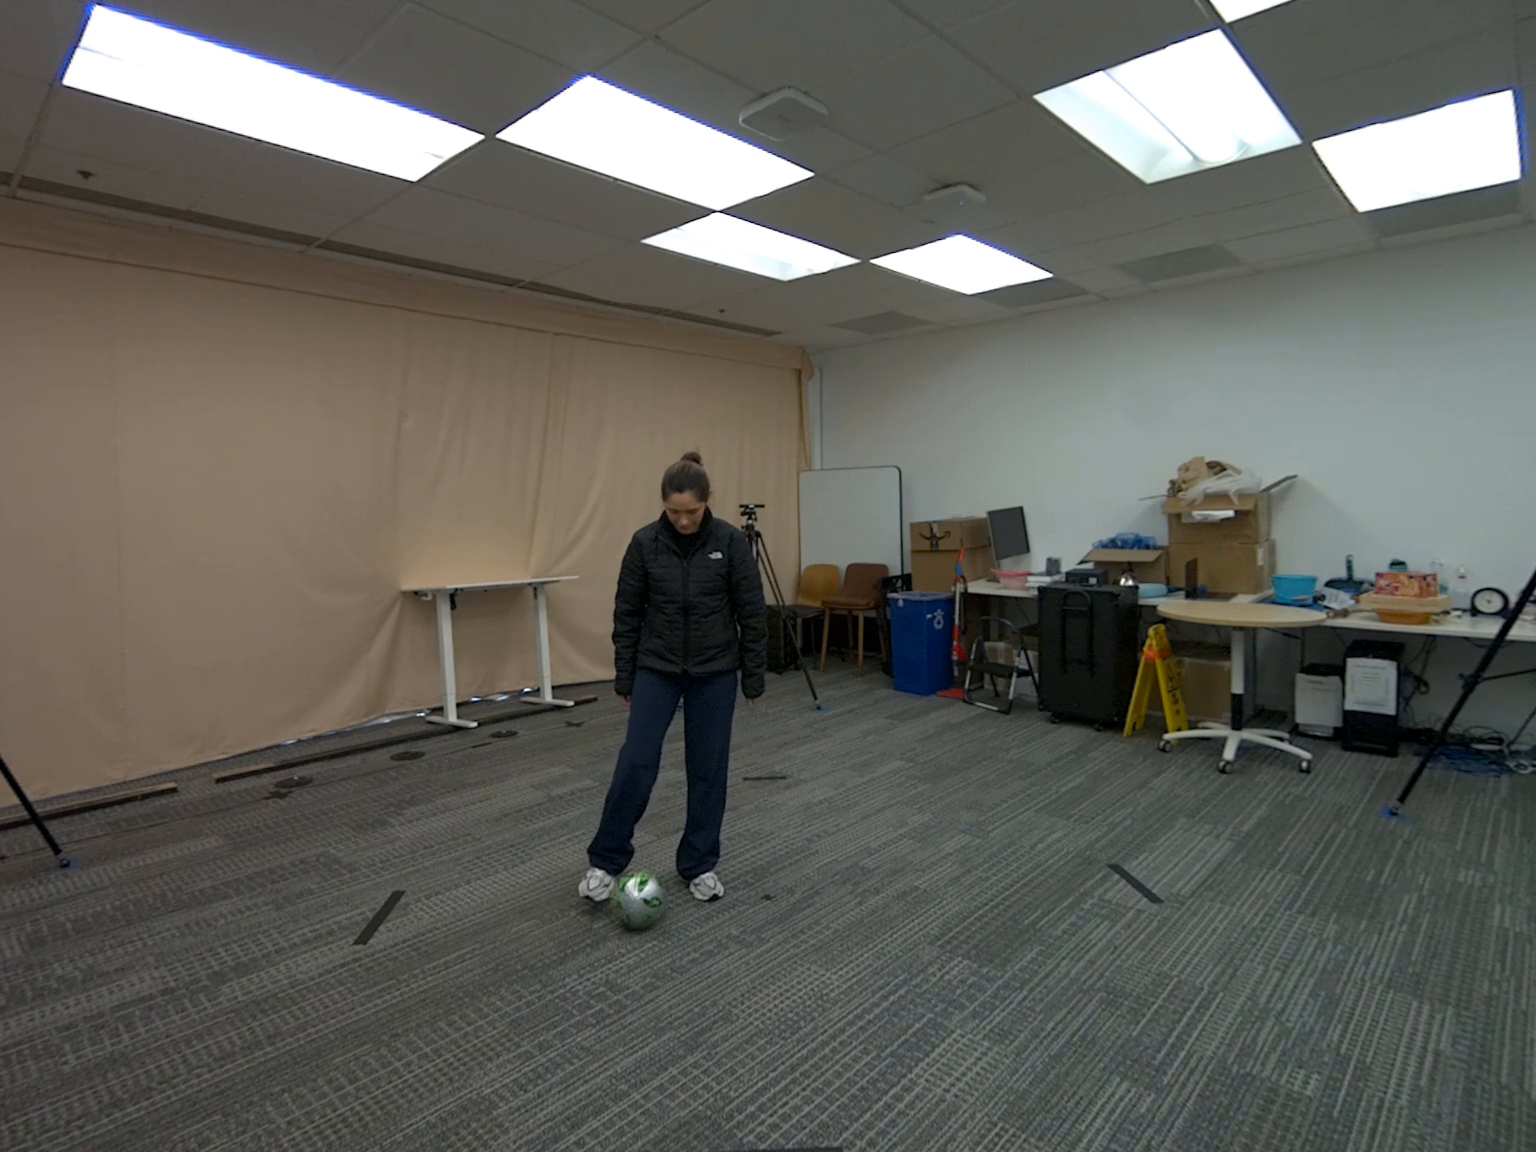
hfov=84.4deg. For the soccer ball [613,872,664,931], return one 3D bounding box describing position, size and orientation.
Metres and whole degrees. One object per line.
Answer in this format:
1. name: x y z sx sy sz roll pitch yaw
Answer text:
1. soccer ball: -0.420 1.070 2.791 0.187 0.187 0.188 -1 4 -2
